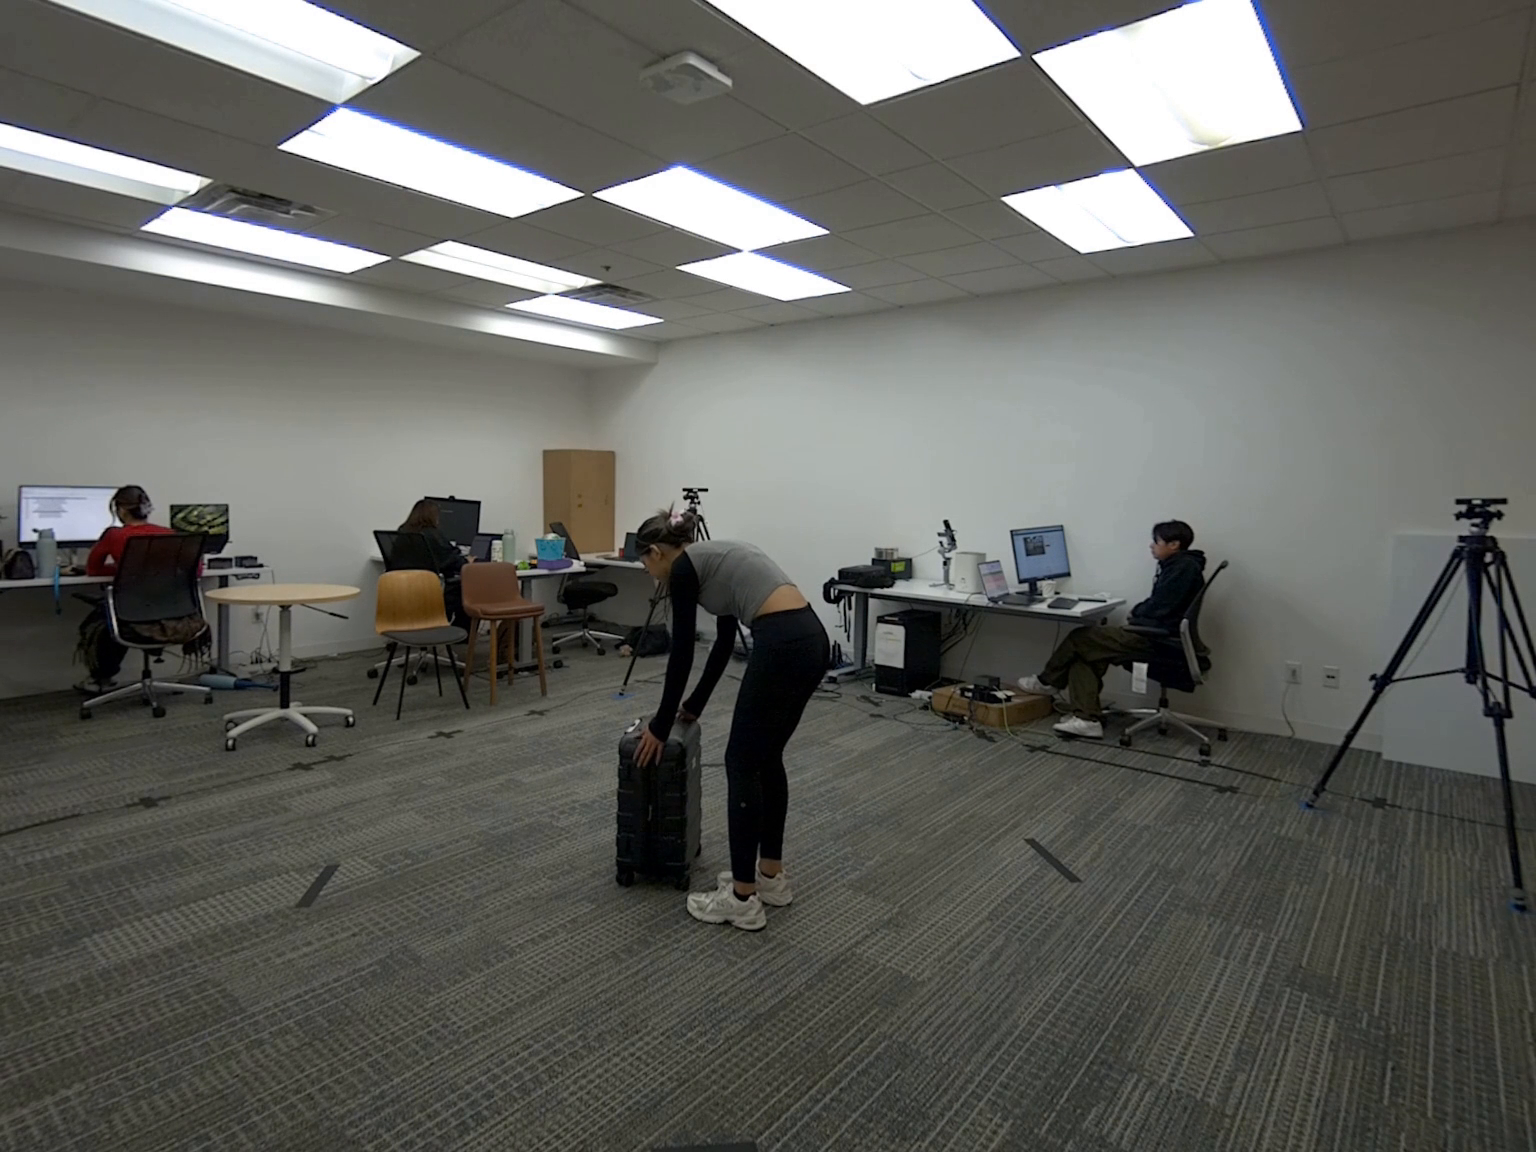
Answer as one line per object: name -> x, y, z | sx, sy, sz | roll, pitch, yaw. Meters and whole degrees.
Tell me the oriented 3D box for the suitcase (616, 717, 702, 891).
suitcase -> -0.401, 0.791, 3.081 | 0.250, 0.548, 0.373 | 2, 3, 7
